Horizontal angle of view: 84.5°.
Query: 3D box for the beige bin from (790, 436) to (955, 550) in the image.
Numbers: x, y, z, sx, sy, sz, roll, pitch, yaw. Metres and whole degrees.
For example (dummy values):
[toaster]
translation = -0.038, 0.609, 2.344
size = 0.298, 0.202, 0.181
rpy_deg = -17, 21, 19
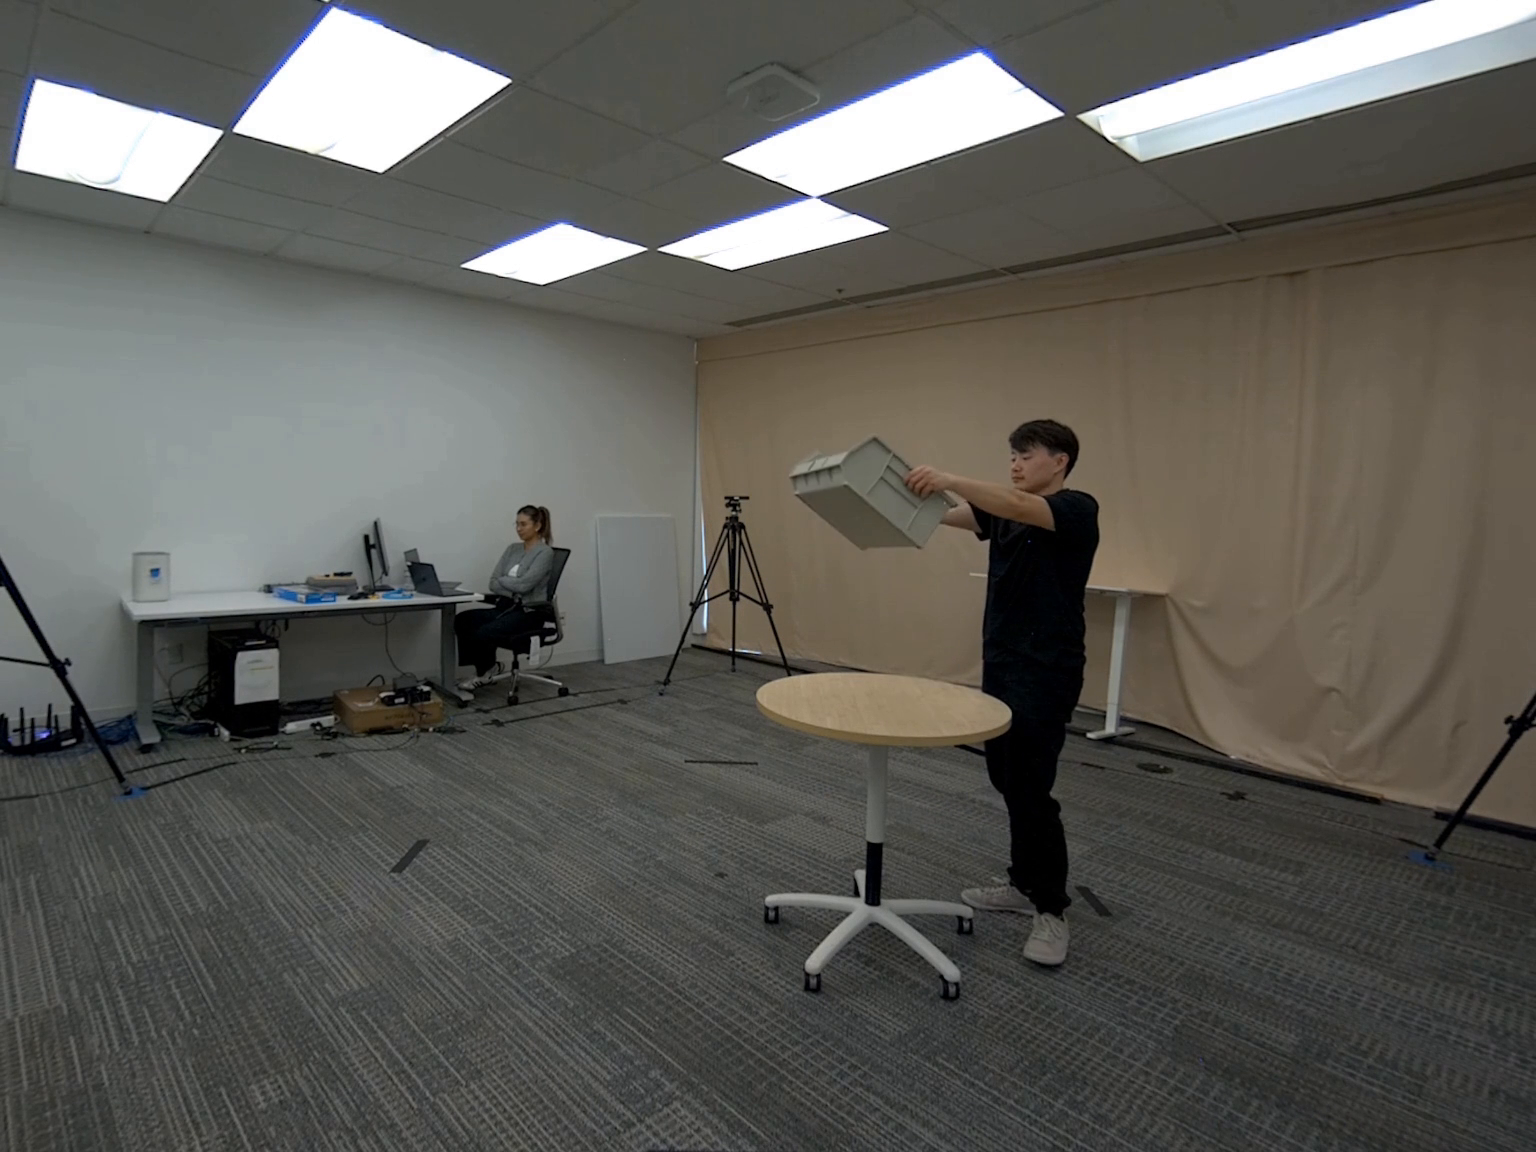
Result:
[beige bin]
translation = 0.305, -0.241, 2.664
size = 0.371, 0.189, 0.428
rpy_deg = 39, -12, -15
